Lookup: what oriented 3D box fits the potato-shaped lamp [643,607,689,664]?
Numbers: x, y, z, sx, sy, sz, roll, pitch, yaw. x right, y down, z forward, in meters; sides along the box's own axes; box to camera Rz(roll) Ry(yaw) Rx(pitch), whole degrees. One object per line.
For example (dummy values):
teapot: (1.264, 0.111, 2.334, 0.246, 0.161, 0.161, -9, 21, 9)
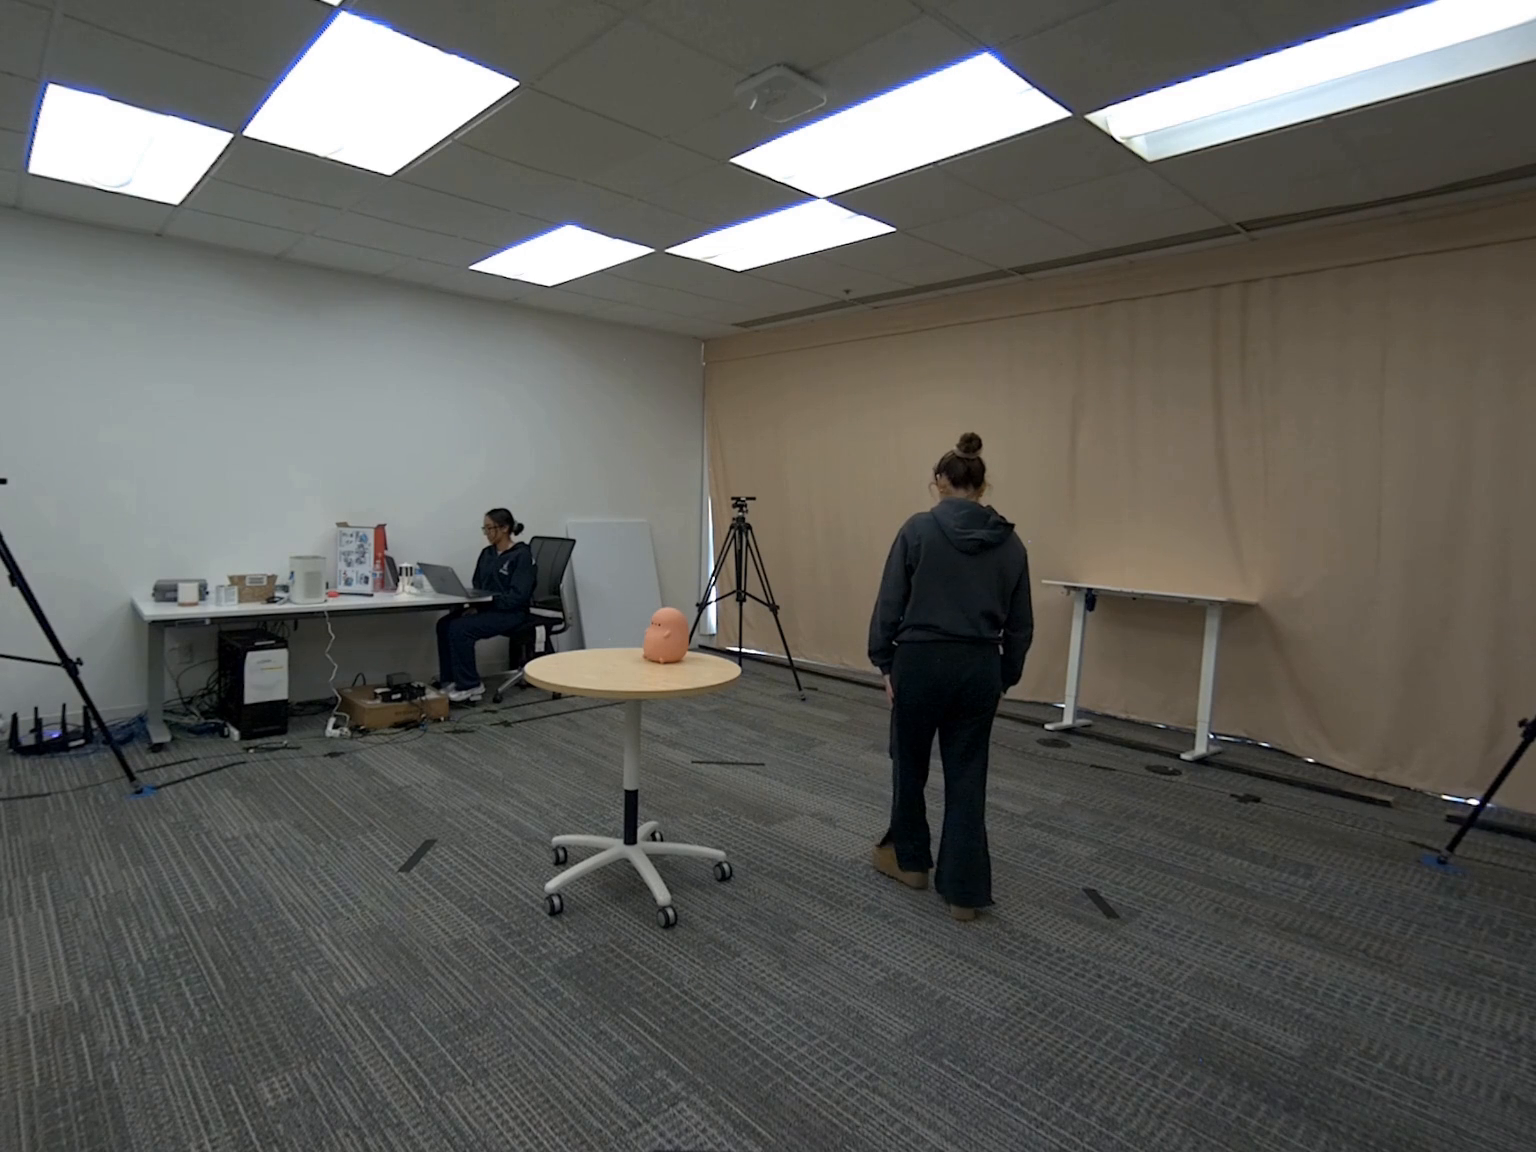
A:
potato-shaped lamp: (-0.385, 0.216, 3.147, 0.167, 0.198, 0.169, 0, 3, -43)
